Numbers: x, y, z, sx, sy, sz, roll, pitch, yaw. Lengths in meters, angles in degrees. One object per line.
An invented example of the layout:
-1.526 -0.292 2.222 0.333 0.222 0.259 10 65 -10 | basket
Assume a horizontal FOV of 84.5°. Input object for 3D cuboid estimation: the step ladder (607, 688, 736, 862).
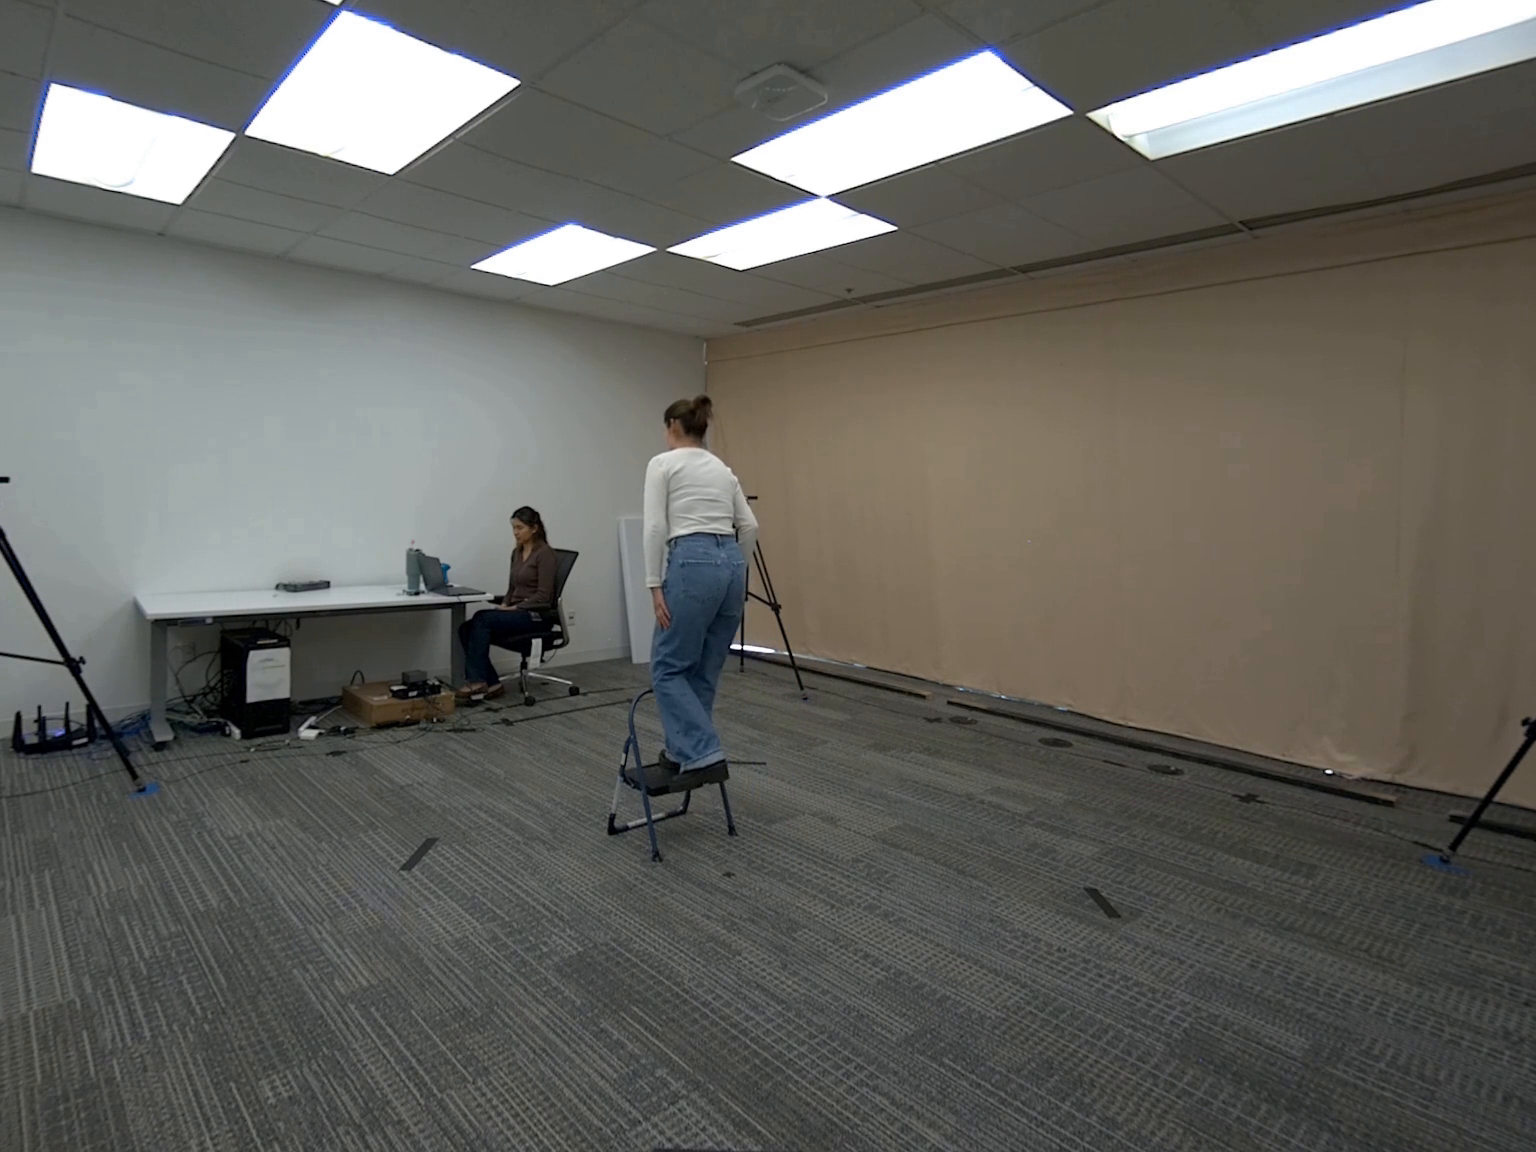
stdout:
-0.393 0.765 3.450 0.420 0.605 0.358 -2 5 -45 | step ladder
